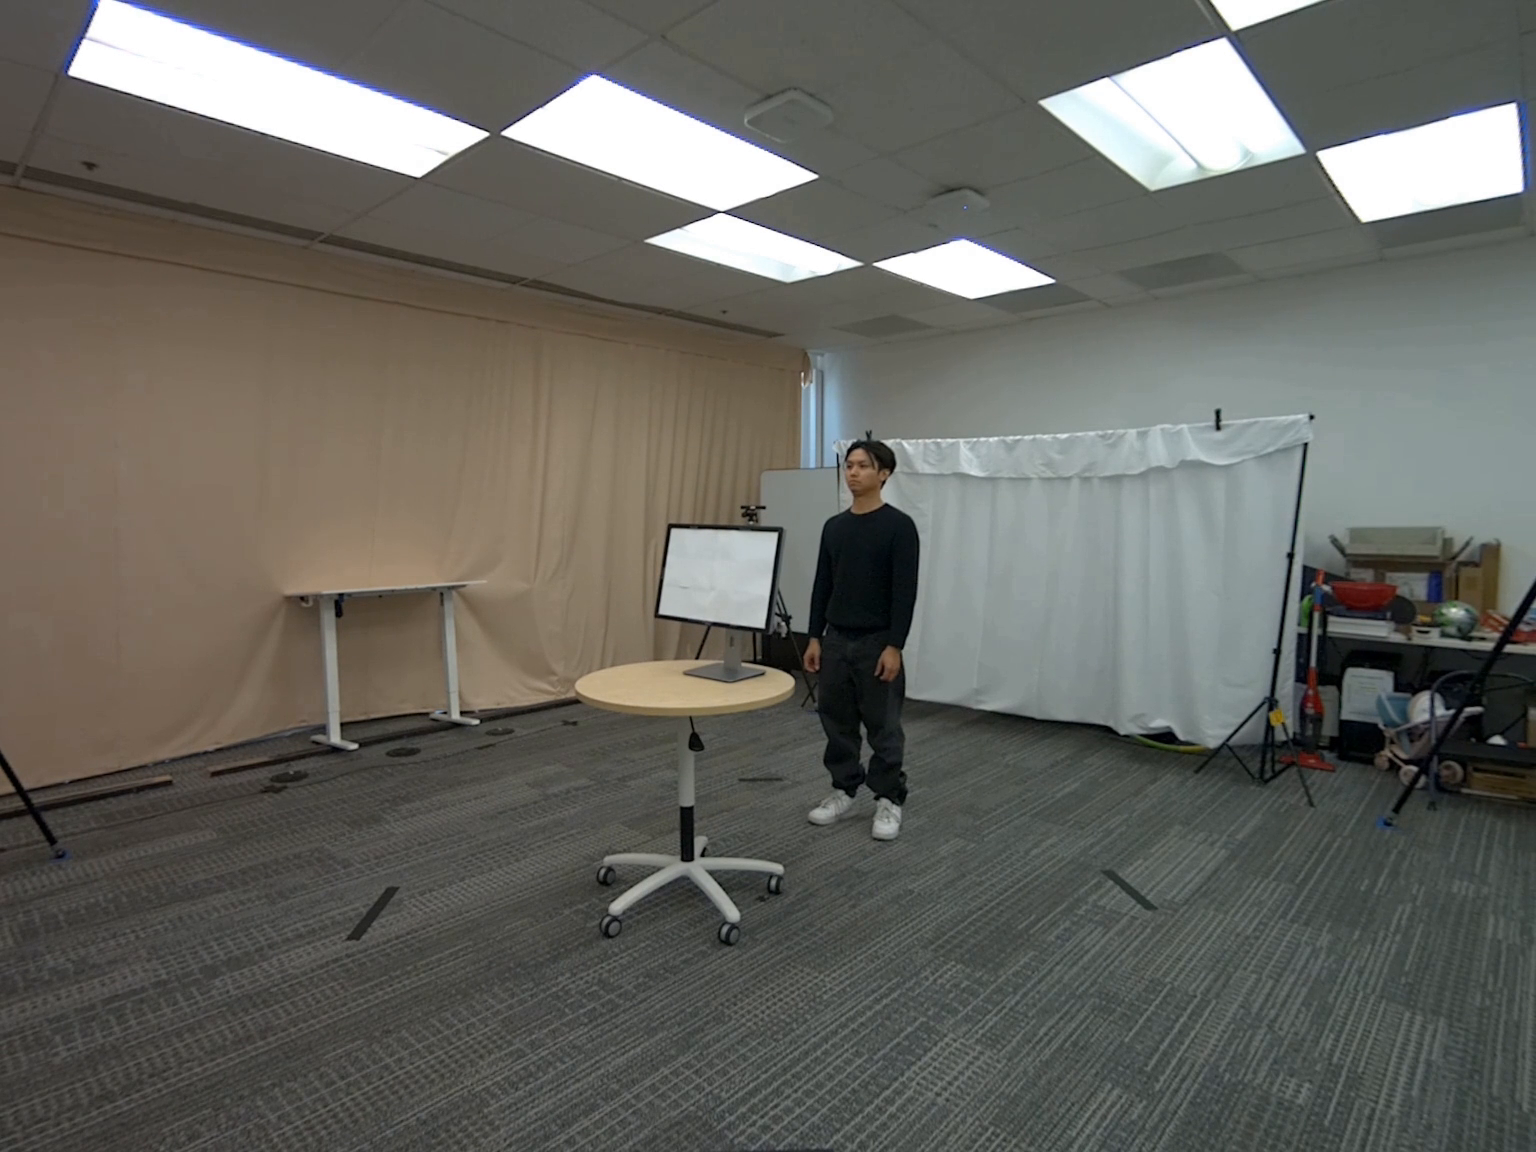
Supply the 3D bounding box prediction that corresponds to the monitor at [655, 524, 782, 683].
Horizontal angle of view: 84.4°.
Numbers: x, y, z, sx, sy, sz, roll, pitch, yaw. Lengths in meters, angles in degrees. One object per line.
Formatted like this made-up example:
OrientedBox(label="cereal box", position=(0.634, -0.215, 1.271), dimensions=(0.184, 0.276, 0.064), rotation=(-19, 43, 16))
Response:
OrientedBox(label="monitor", position=(-0.155, 0.091, 3.040), dimensions=(0.557, 0.521, 0.181), rotation=(3, 6, 39))
